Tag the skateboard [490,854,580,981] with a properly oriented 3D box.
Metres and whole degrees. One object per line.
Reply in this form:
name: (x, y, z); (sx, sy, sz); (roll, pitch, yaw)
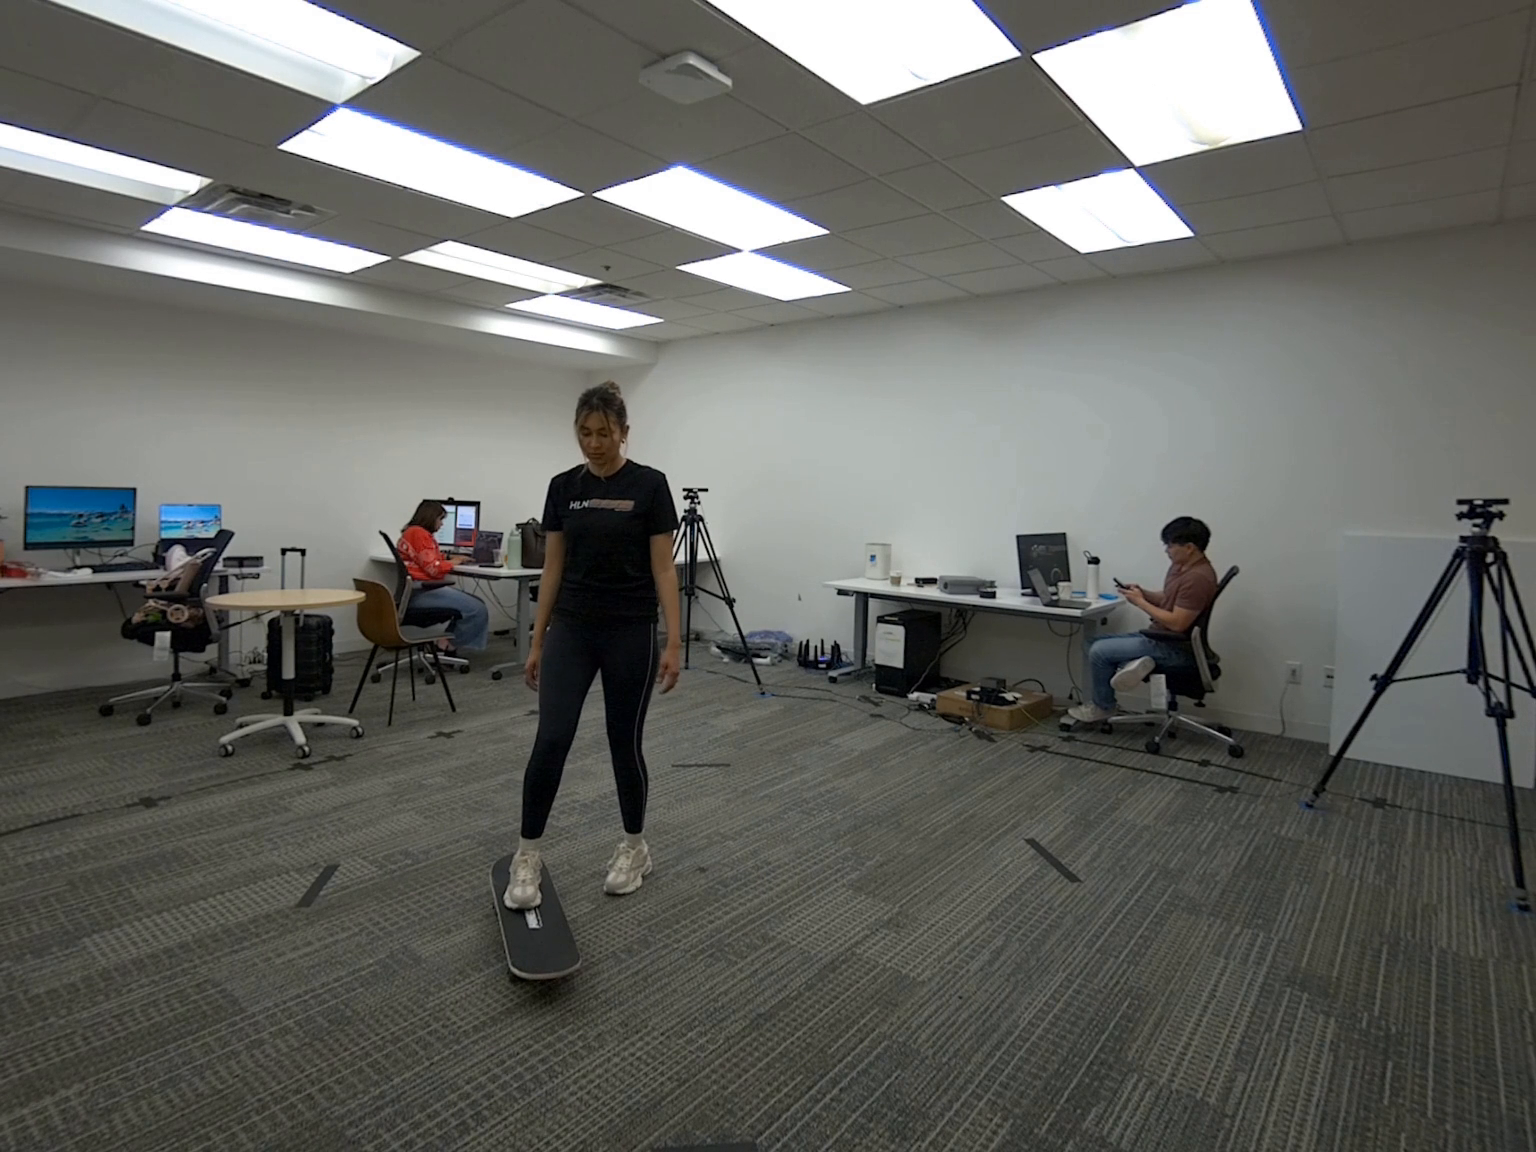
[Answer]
skateboard: (-0.734, 1.059, 2.594); (0.189, 0.110, 0.805); (-2, 6, -23)
